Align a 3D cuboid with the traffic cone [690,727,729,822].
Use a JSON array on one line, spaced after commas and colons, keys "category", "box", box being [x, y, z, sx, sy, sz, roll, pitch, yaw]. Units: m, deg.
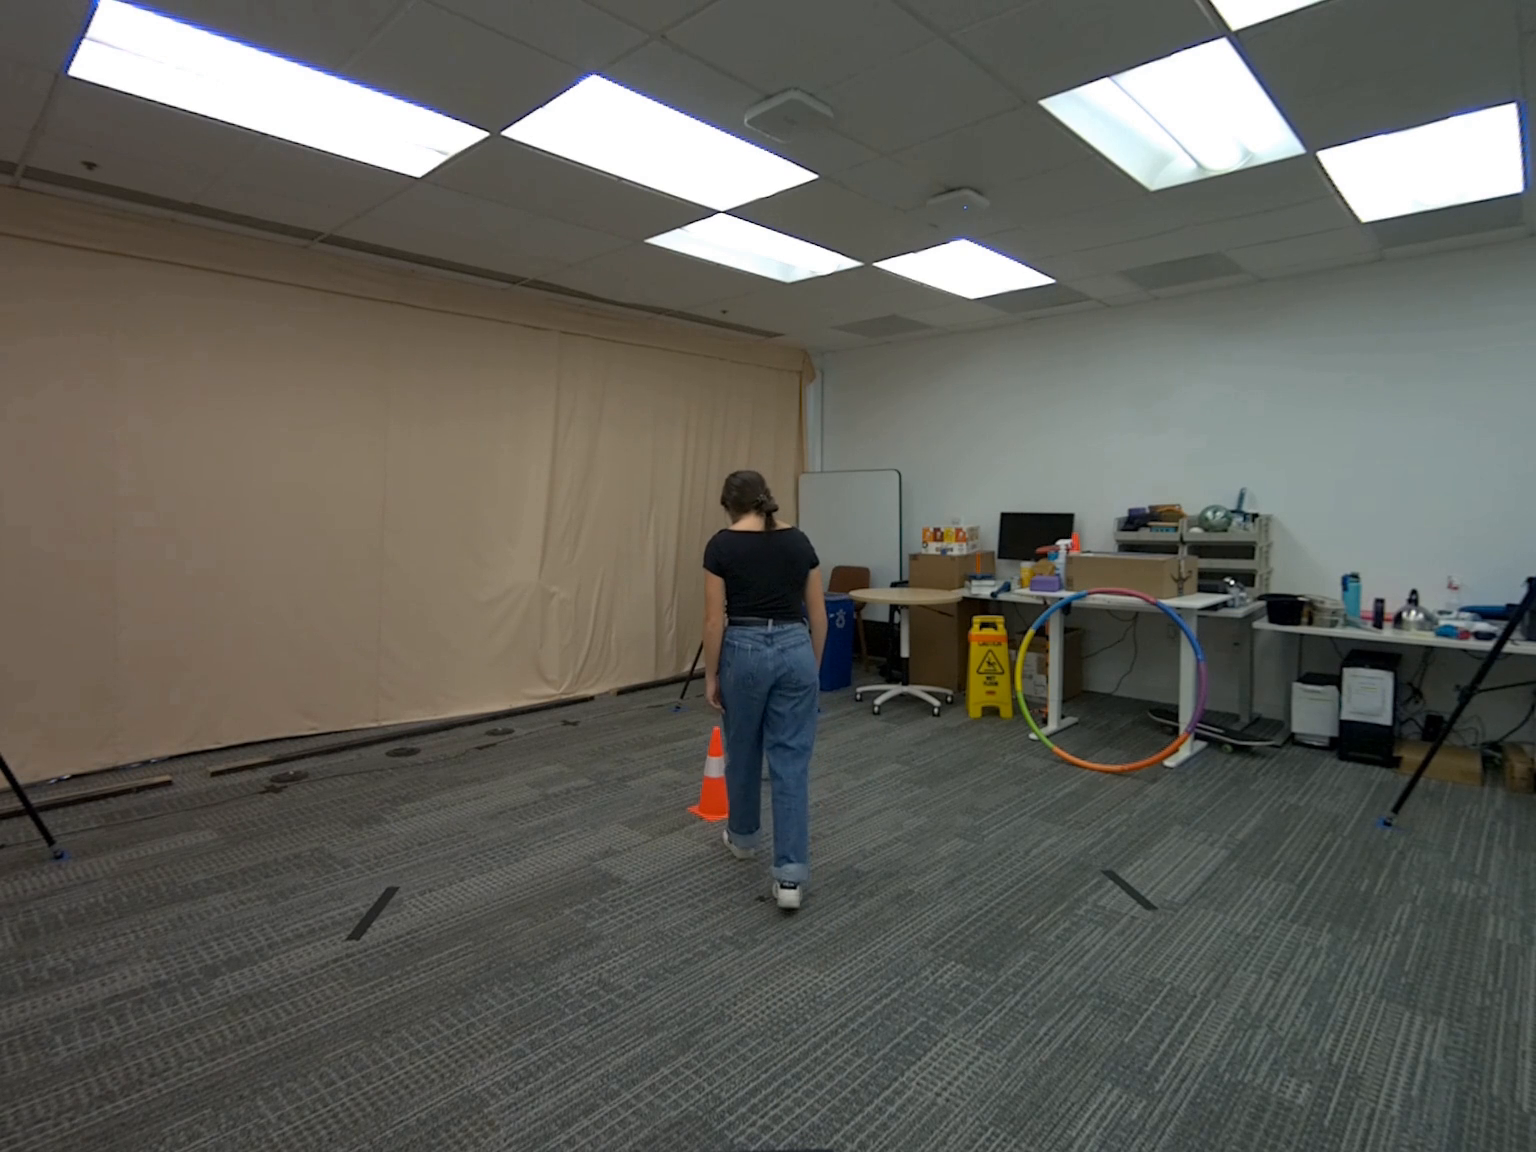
[{"category": "traffic cone", "box": [-0.236, 0.886, 3.850, 0.199, 0.383, 0.210, -1, 4, -35]}]
